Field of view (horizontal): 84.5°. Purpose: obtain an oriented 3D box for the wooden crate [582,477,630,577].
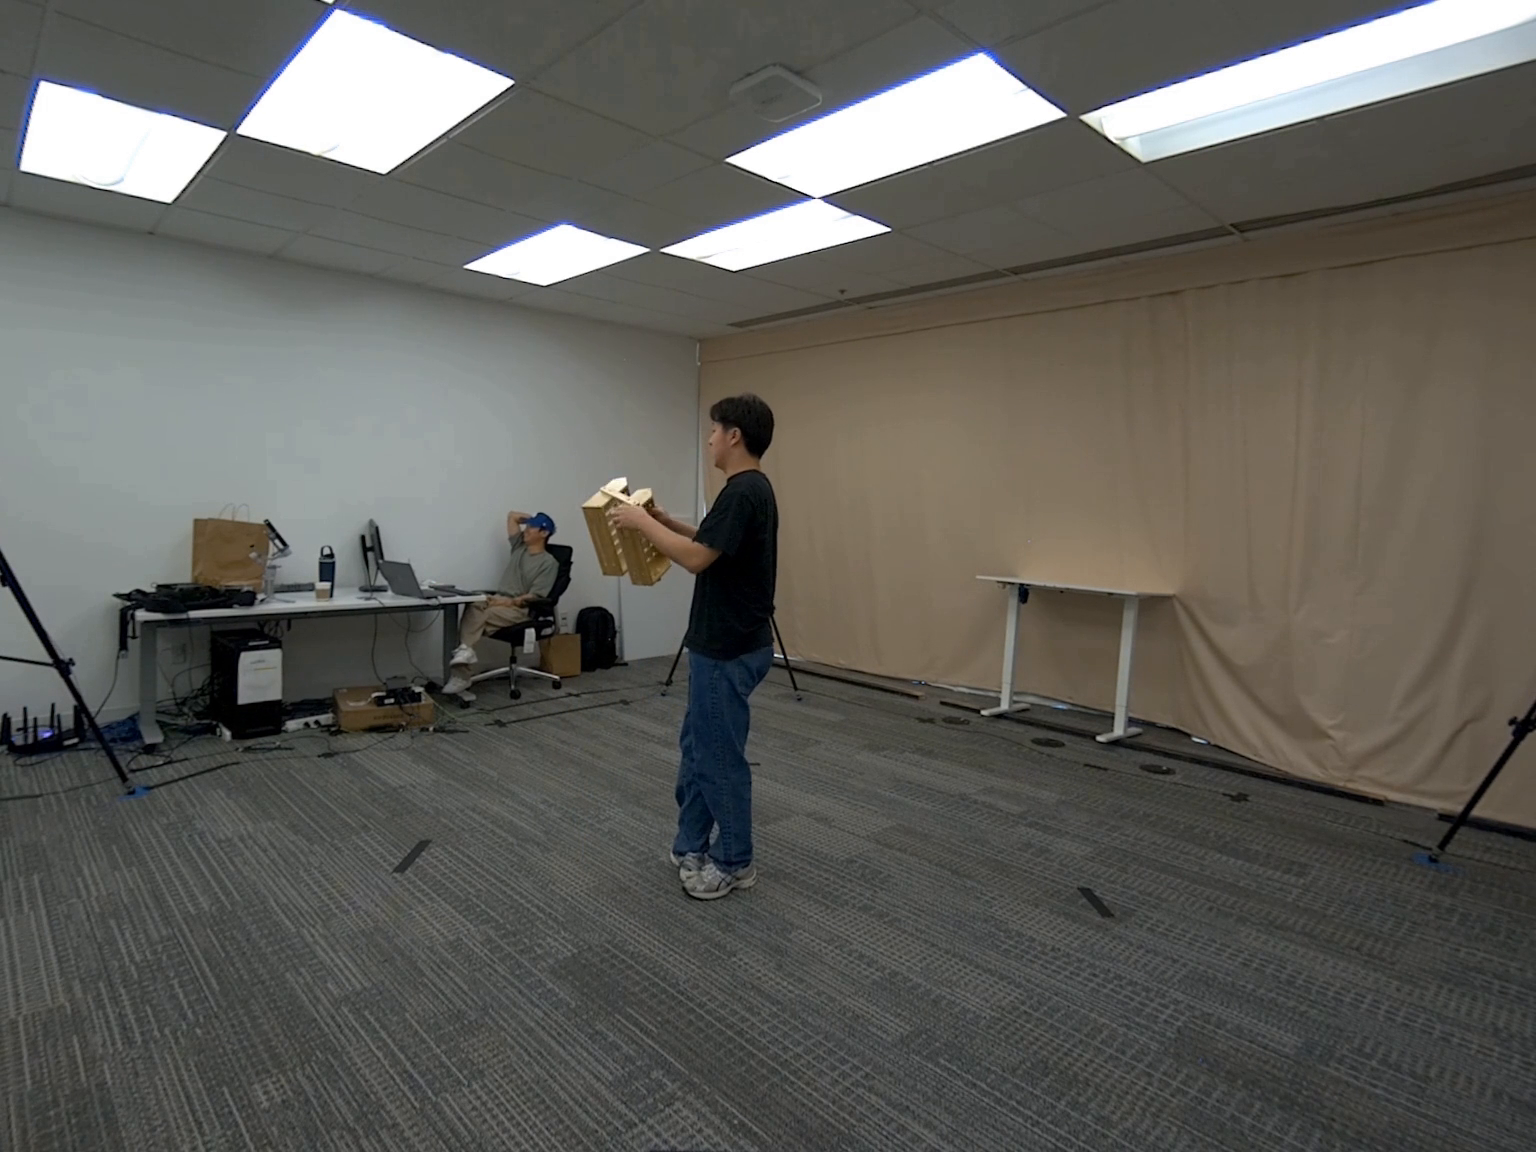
[{"bbox_3d":[-0.505,-0.172,3.213,0.279,0.317,0.303,3,32,27],"label":"wooden crate"}]
